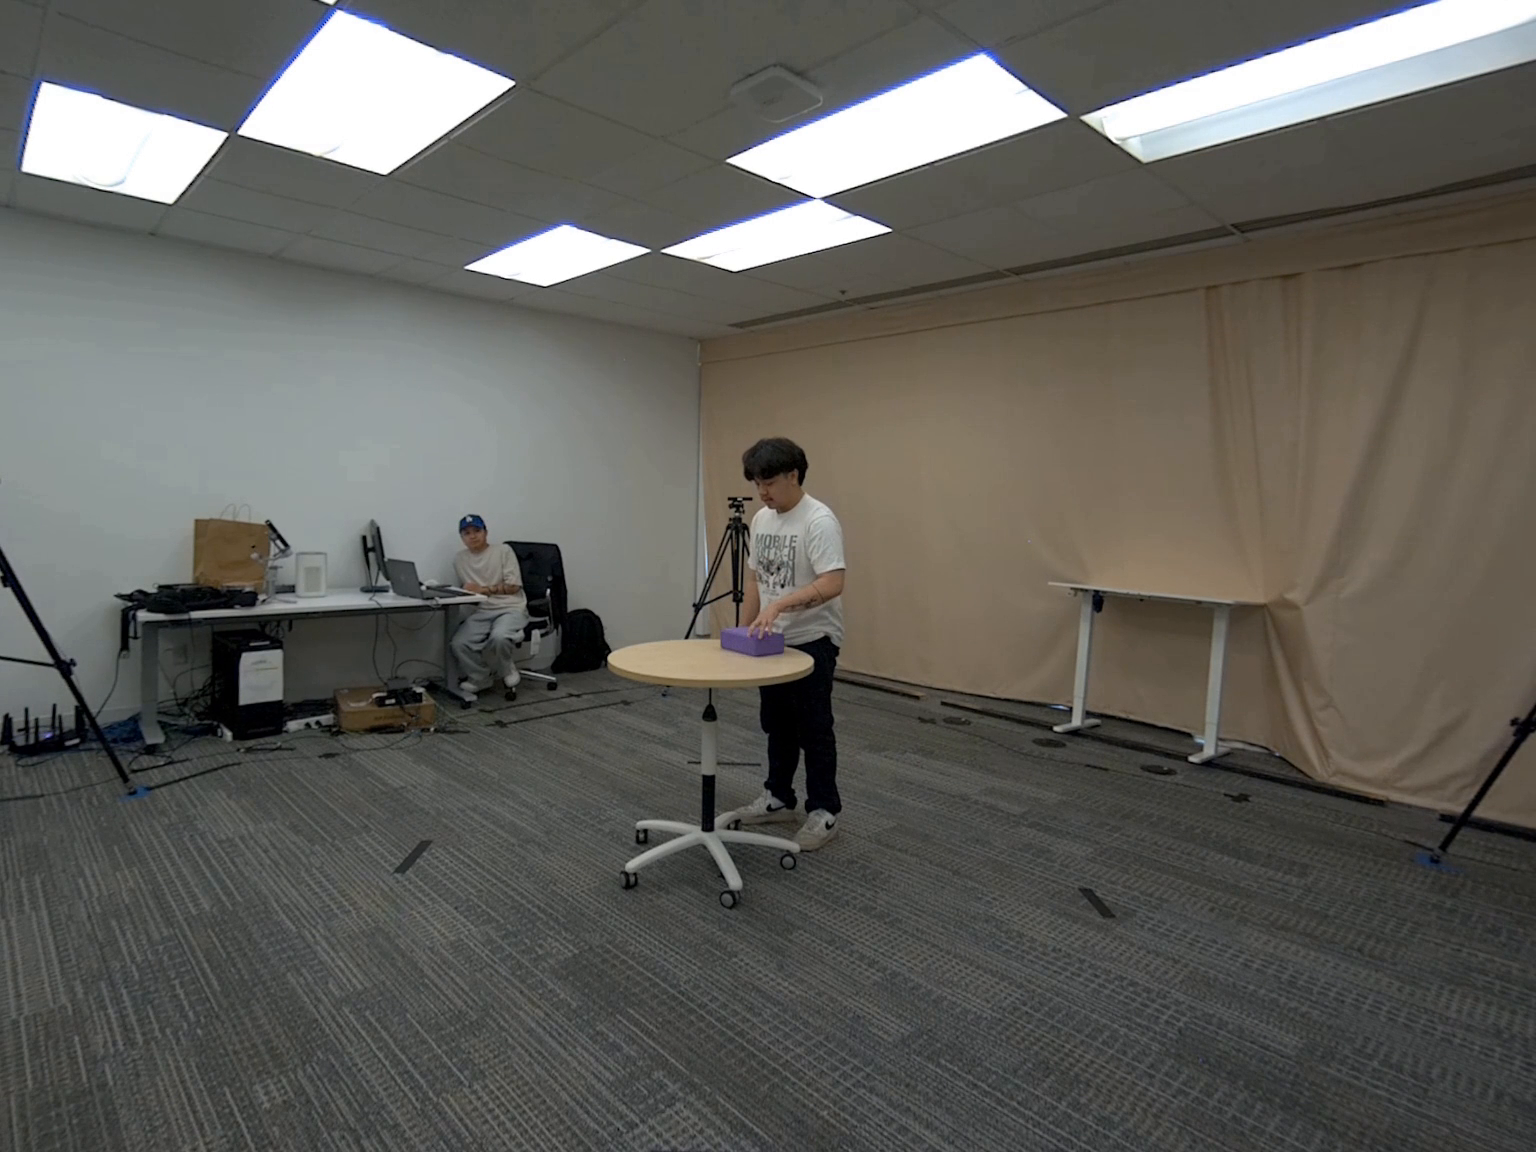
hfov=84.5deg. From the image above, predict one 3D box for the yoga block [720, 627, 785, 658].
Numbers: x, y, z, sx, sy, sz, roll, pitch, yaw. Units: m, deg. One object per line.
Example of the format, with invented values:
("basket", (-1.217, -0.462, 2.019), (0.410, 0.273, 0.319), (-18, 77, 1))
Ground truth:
("yoga block", (-0.078, 0.255, 3.280), (0.146, 0.076, 0.235), (-4, 7, -36))
